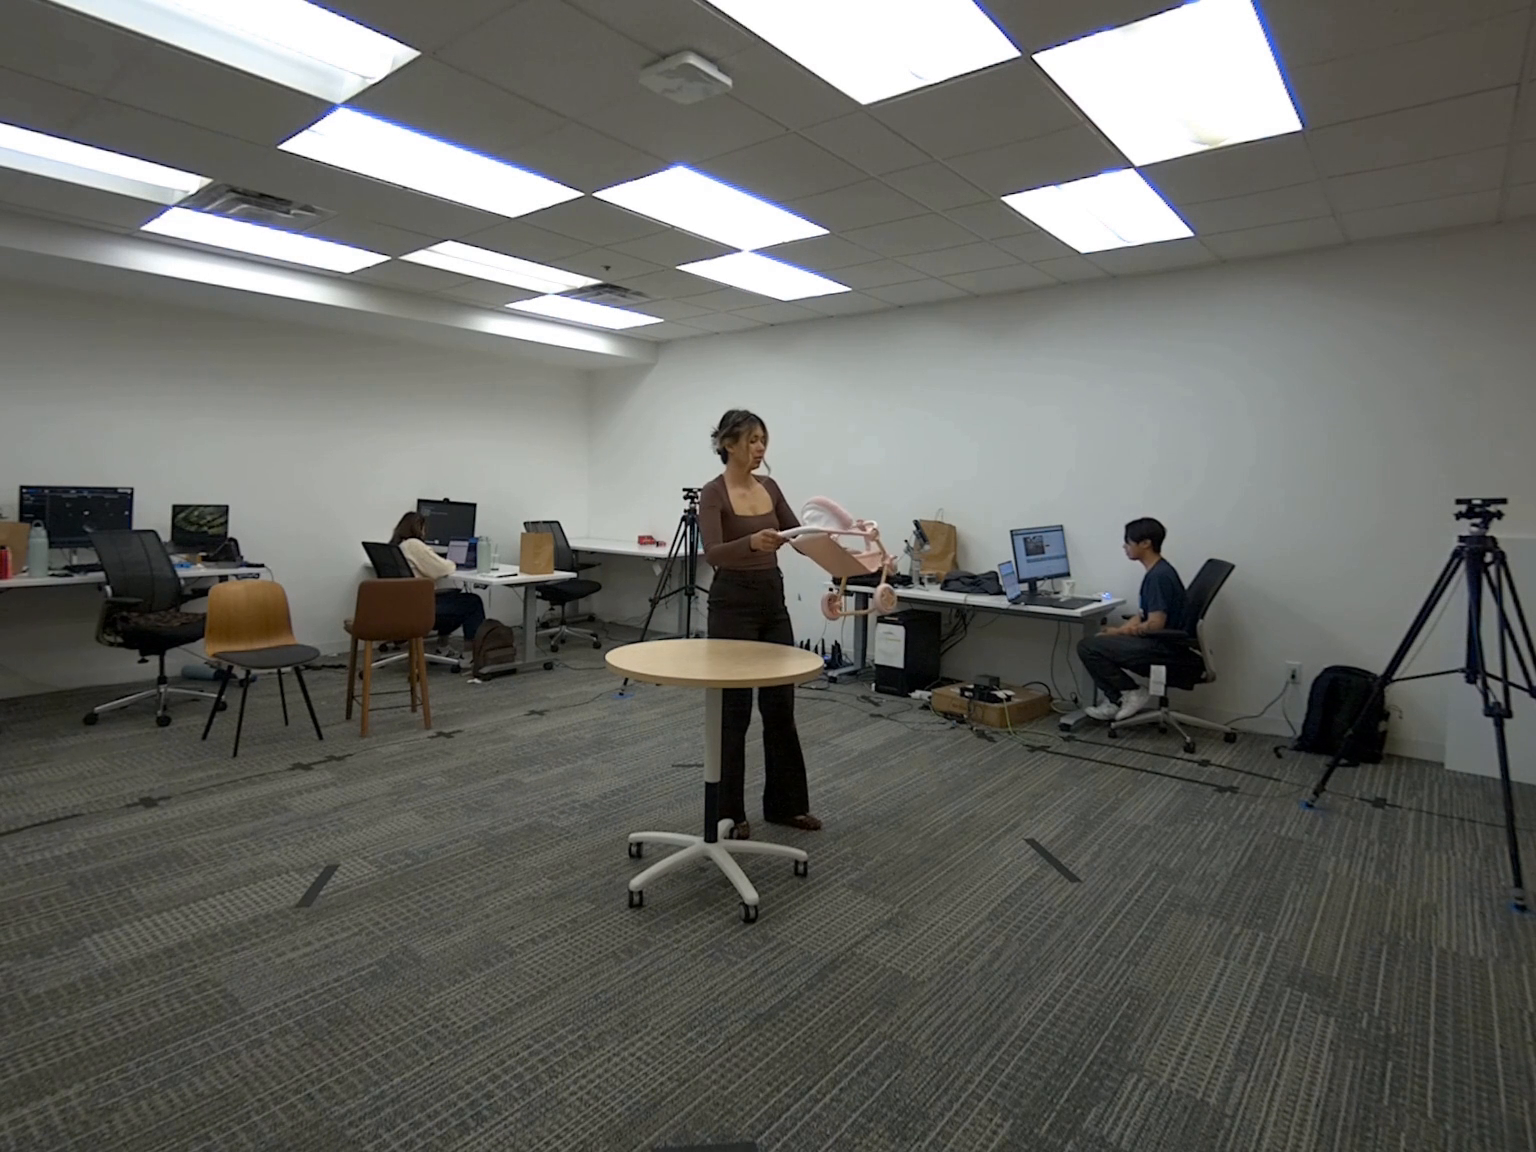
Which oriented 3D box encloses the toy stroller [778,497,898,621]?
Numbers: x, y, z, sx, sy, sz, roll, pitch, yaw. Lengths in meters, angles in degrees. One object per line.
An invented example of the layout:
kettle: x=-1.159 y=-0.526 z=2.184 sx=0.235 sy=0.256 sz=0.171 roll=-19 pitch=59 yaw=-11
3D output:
toy stroller: x=0.267 y=-0.086 z=3.083 sx=0.289 sy=0.343 sz=0.518 roll=-8 pitch=-50 yaw=50
